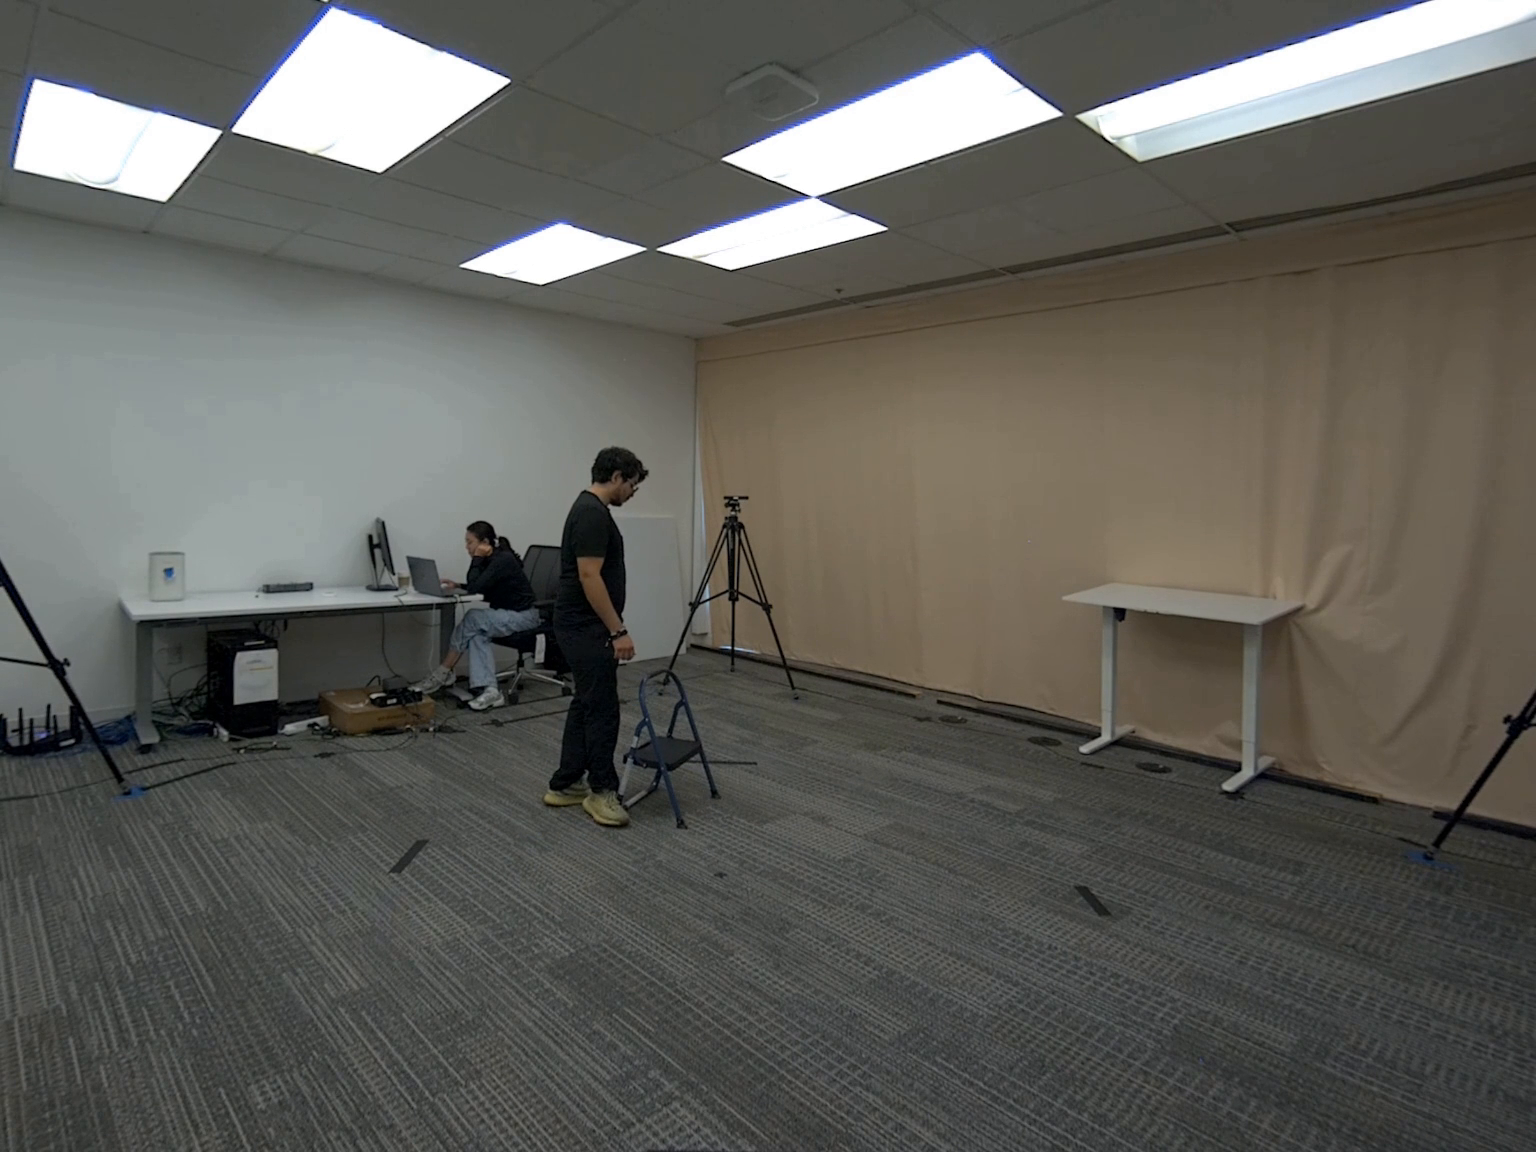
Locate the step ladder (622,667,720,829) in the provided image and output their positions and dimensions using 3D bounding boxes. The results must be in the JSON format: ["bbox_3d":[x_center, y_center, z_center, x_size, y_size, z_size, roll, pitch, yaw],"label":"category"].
[{"bbox_3d":[-0.457,0.739,3.784,0.354,0.605,0.425,2,3,17],"label":"step ladder"}]
